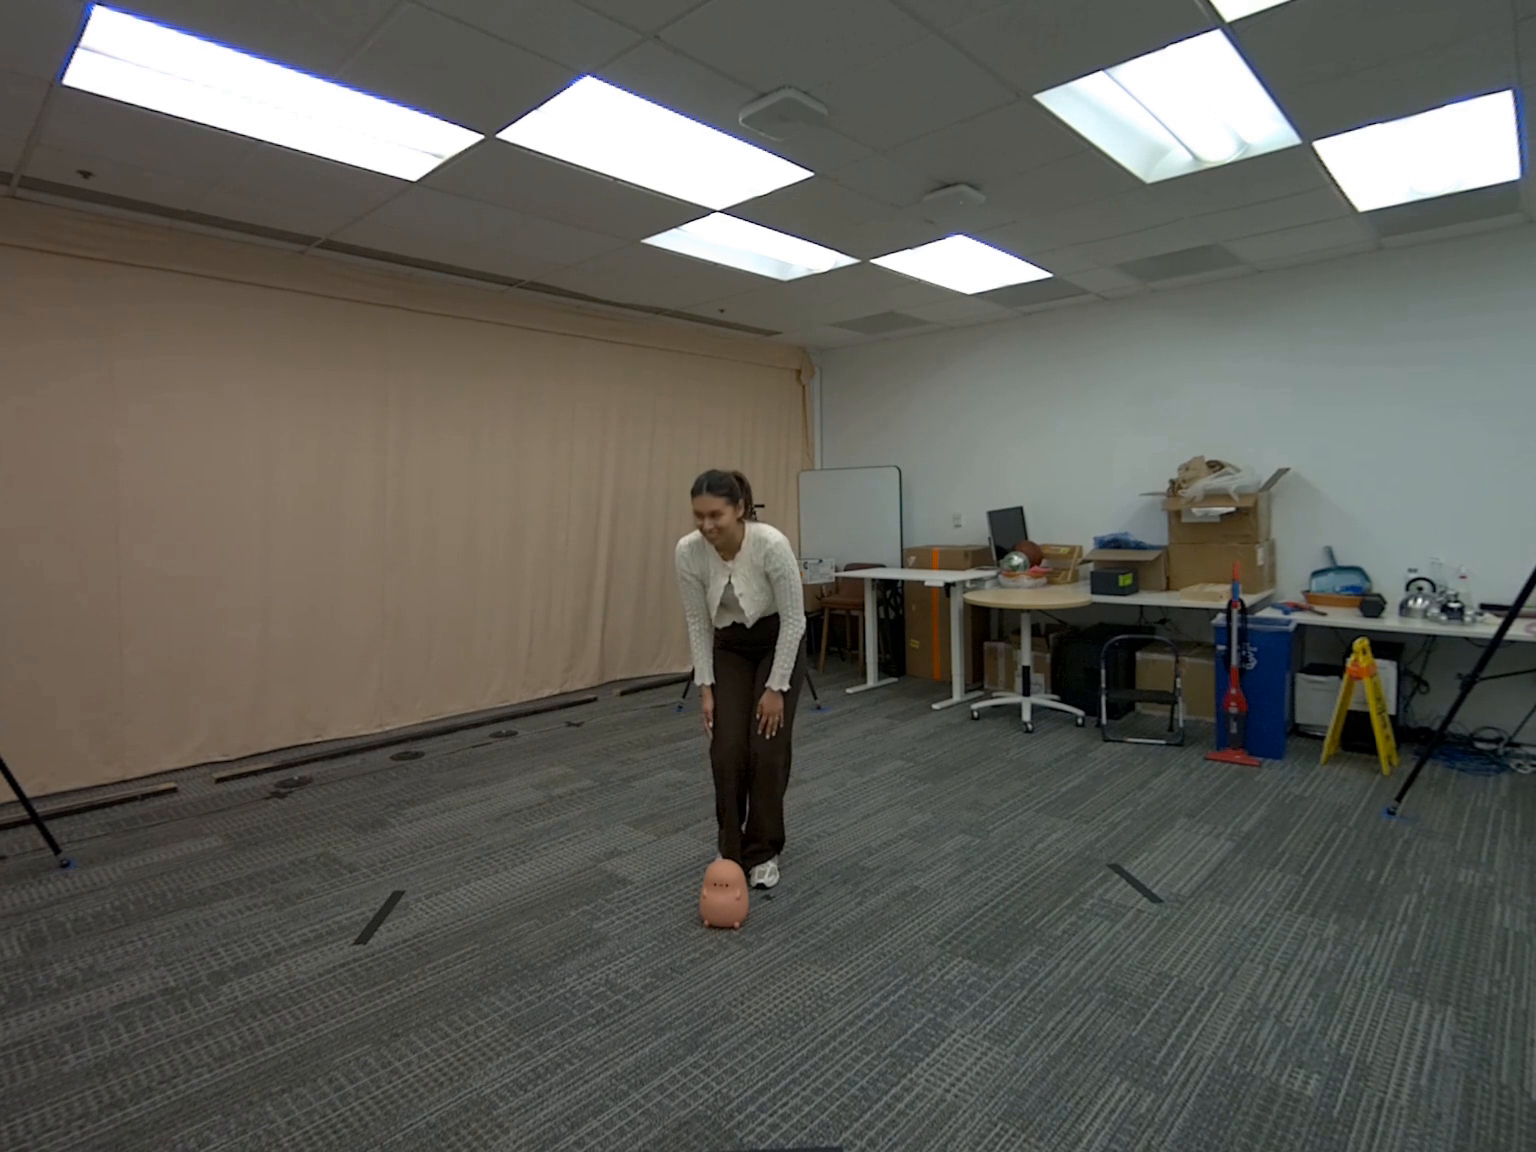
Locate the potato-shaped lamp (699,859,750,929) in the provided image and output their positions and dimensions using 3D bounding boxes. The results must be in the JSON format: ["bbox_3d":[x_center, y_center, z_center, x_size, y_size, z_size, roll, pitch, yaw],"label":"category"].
[{"bbox_3d":[-0.148,1.049,2.823,0.167,0.198,0.169,1,2,14],"label":"potato-shaped lamp"}]
